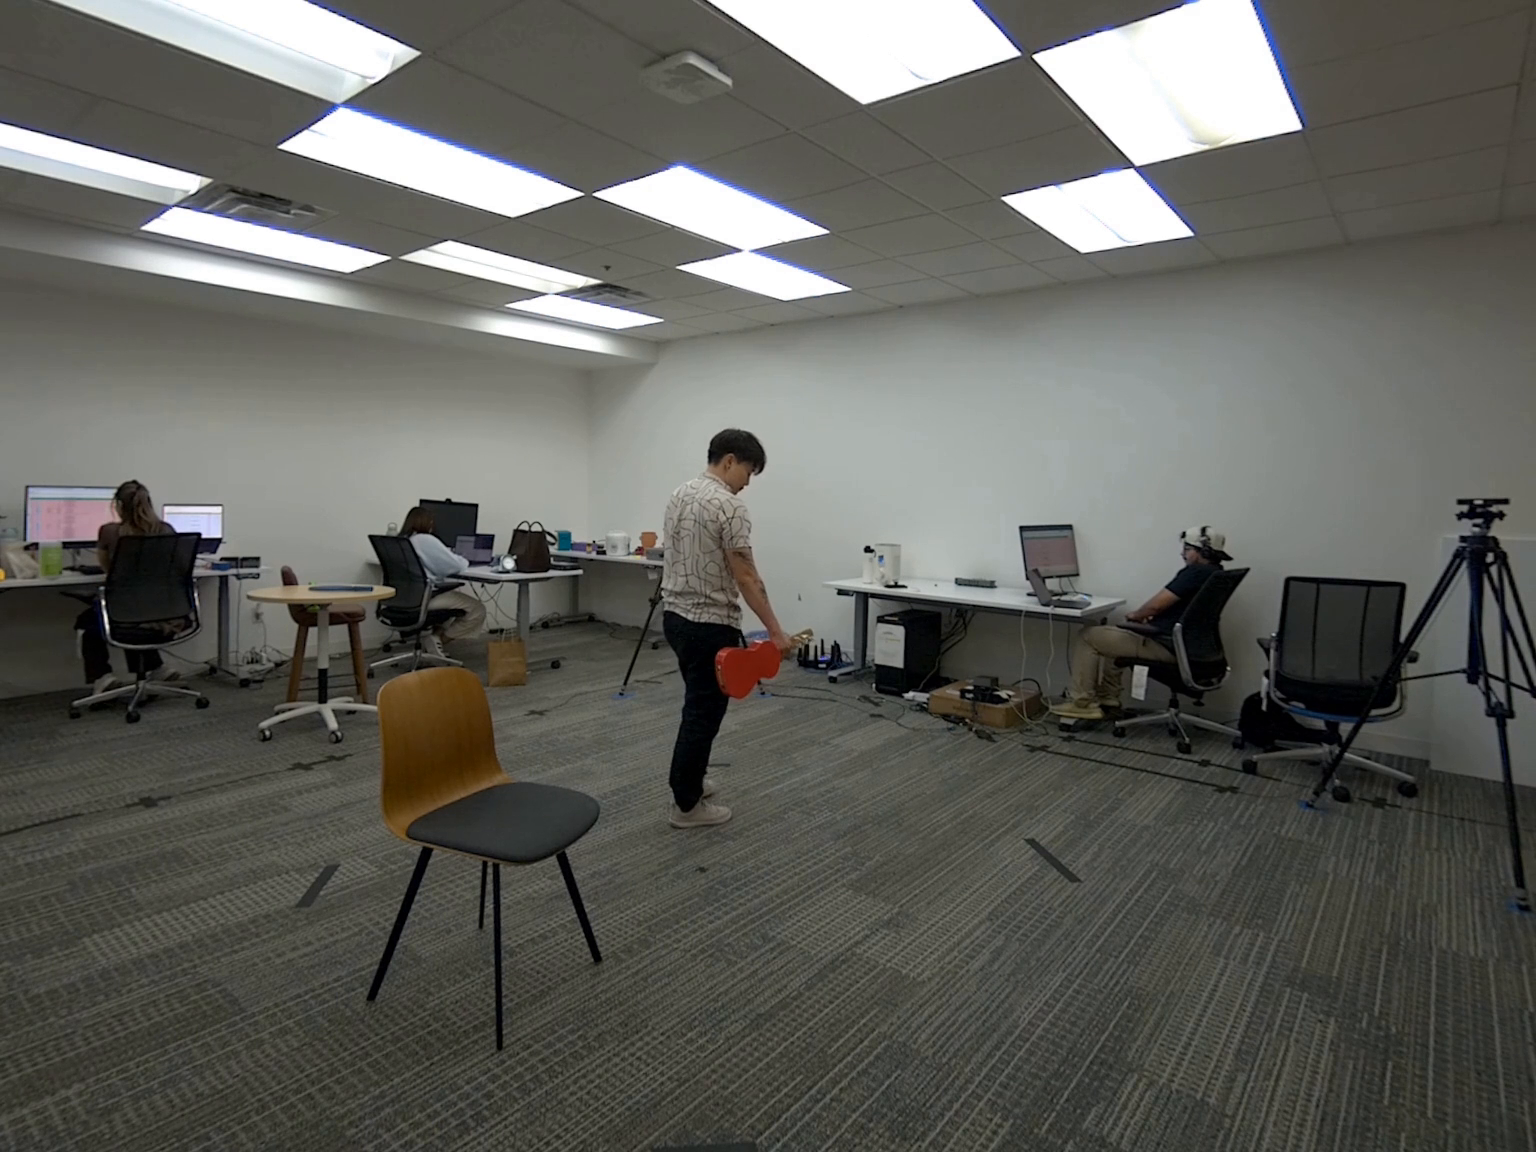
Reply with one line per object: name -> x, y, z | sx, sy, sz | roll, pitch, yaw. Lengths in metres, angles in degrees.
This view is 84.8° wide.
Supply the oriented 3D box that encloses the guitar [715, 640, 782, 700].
guitar -> -0.019, 0.282, 3.327 | 0.492, 0.190, 0.073 | -30, 16, -29
